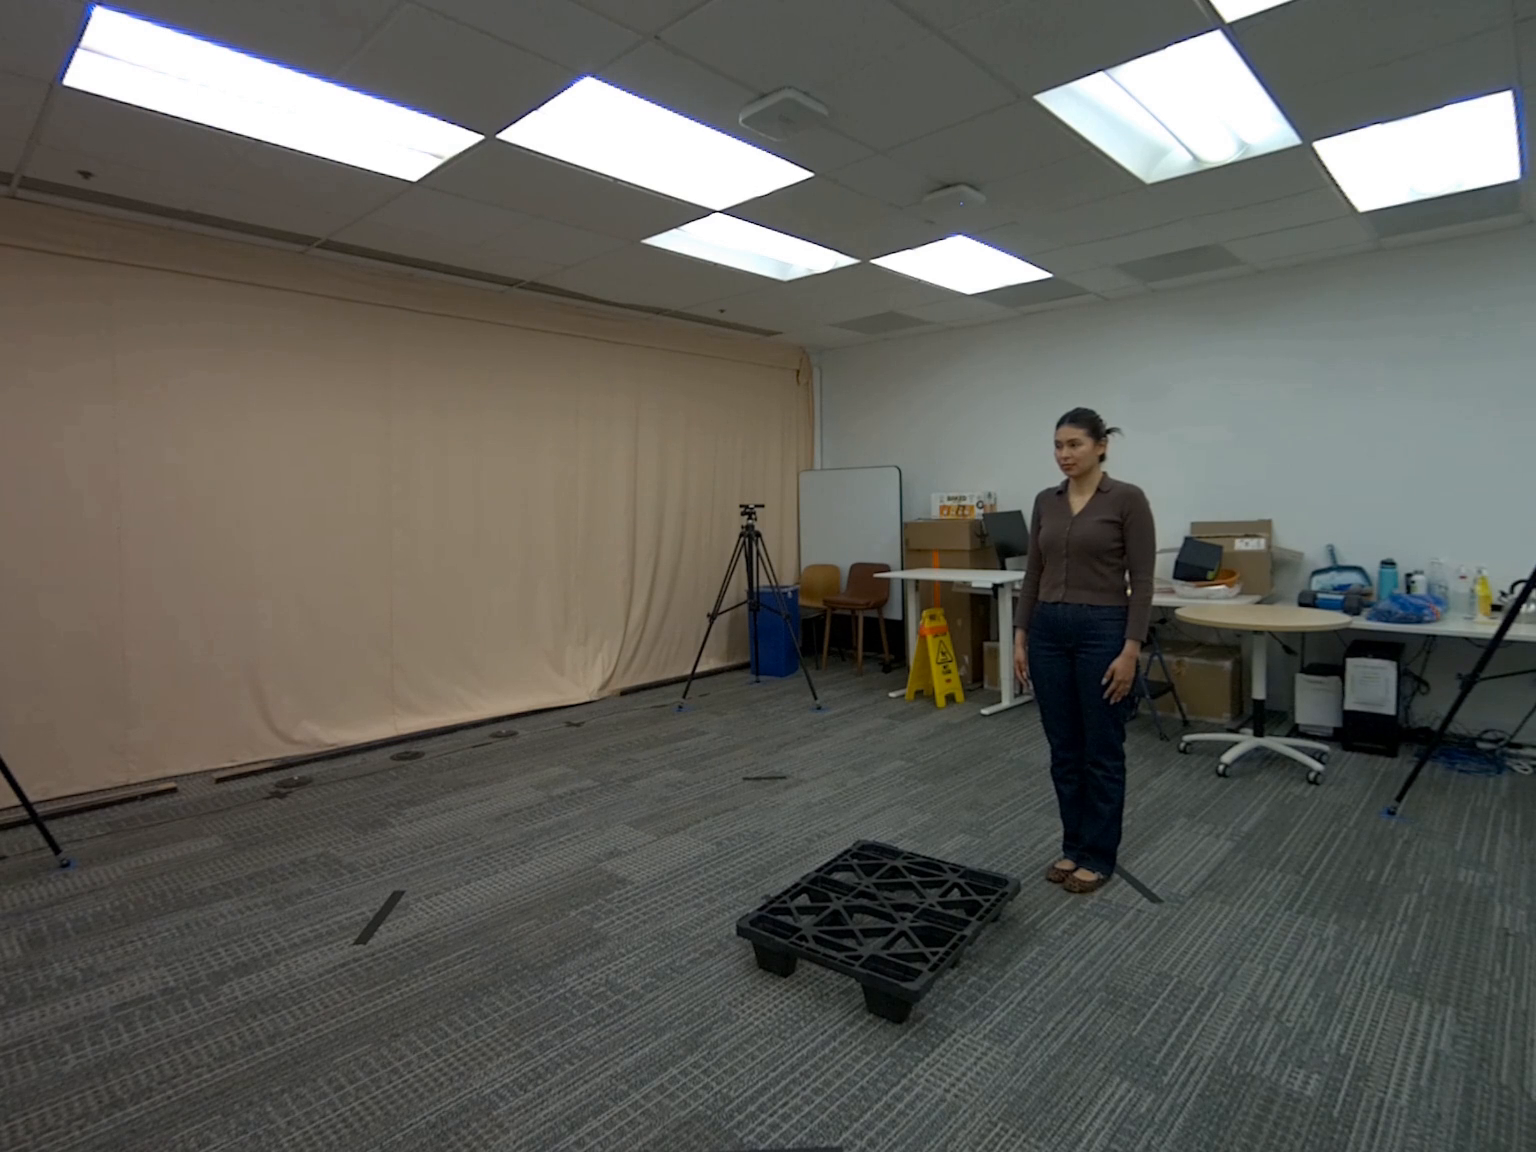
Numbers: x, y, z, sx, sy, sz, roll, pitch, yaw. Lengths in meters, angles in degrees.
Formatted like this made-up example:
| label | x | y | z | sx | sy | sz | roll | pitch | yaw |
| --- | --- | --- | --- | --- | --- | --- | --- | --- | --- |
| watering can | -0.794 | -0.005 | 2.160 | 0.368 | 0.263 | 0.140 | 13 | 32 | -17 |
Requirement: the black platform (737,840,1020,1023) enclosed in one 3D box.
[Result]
| label | x | y | z | sx | sy | sz | roll | pitch | yaw |
| --- | --- | --- | --- | --- | --- | --- | --- | --- | --- |
| black platform | 0.378 | 1.094 | 2.666 | 0.625 | 0.143 | 0.782 | 4 | 7 | 36 |
